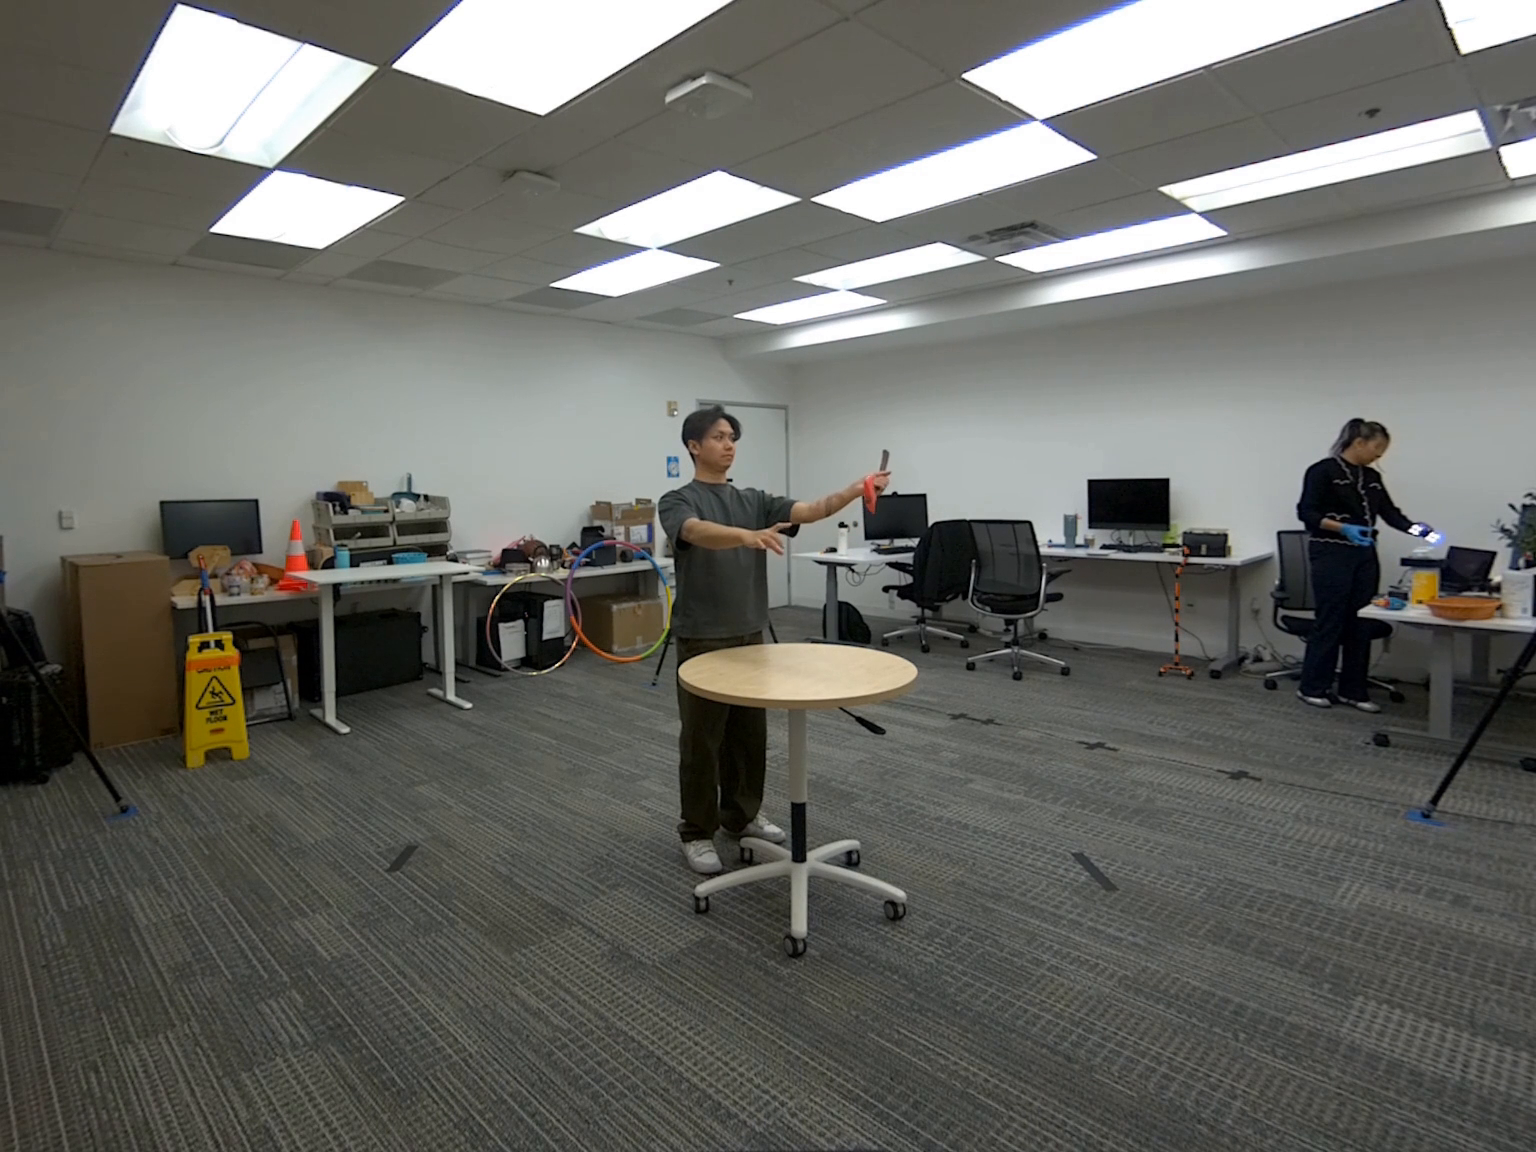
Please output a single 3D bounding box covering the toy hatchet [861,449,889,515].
[{"bbox_3d":[0.371,-0.350,2.958,0.030,0.274,0.126,1,-34,26],"label":"toy hatchet"}]
